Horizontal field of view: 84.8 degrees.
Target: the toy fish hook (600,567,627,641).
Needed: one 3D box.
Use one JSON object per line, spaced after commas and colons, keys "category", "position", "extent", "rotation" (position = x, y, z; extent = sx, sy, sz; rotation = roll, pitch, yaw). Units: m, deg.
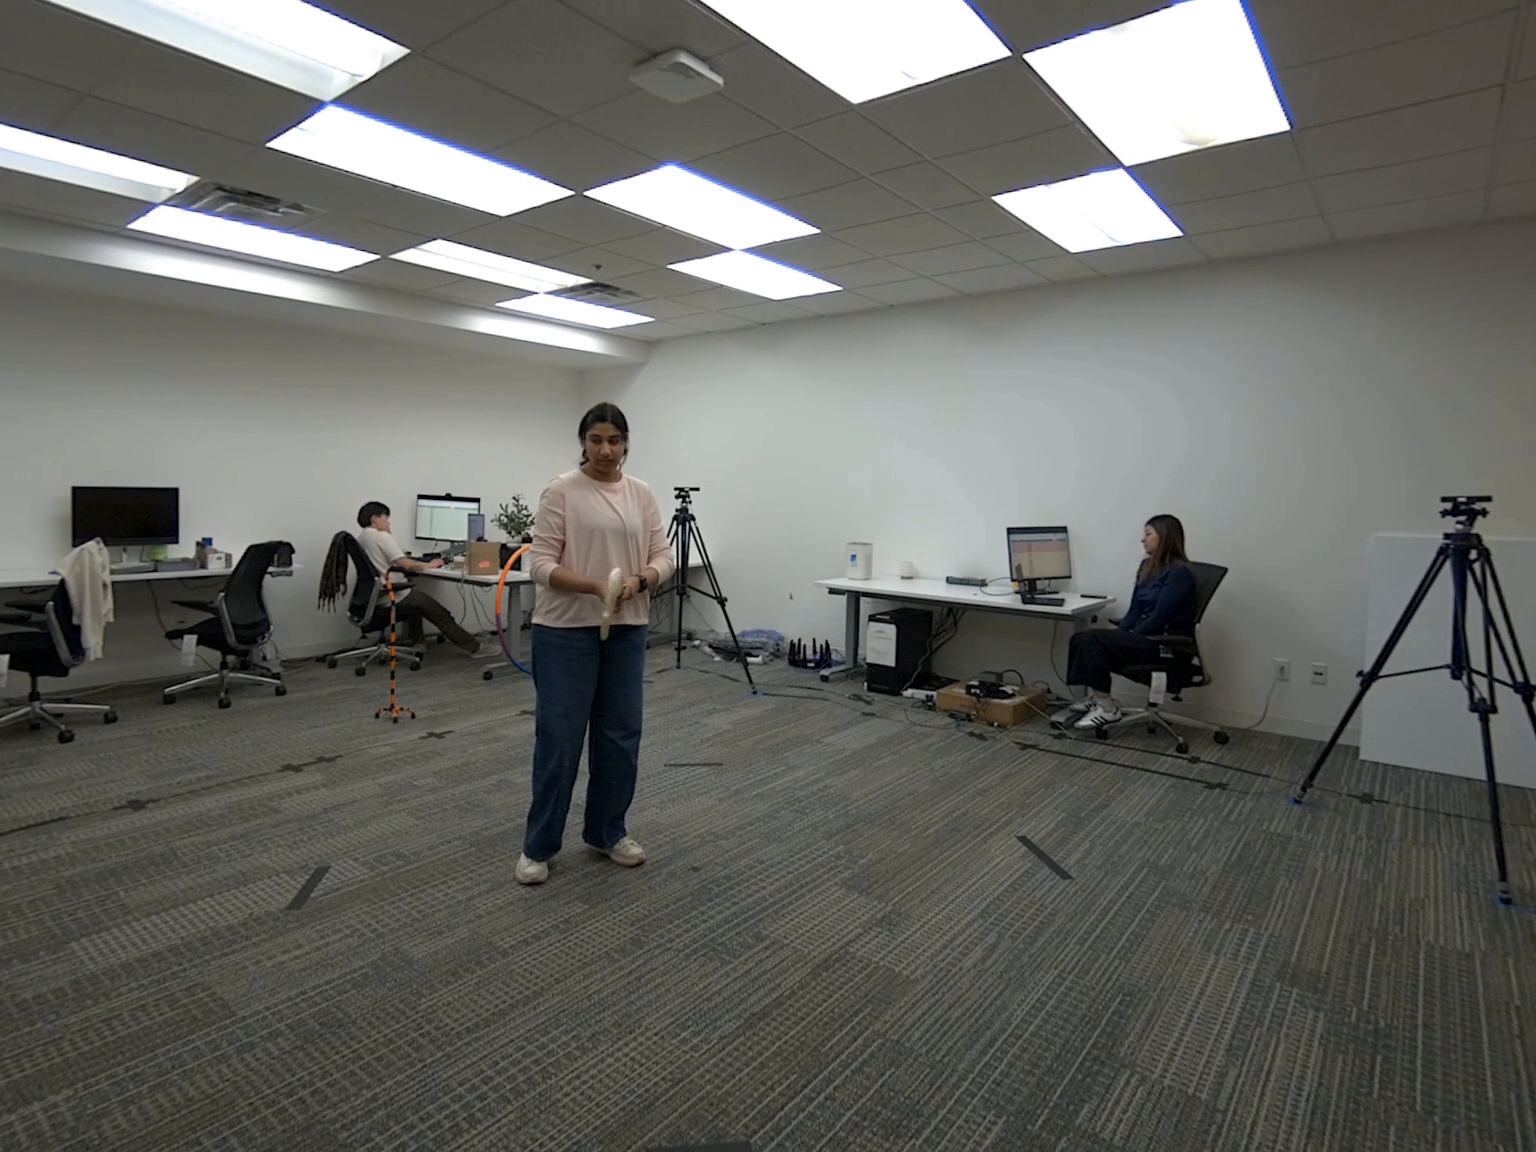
{"category": "toy fish hook", "position": [-0.532, 0.082, 2.736], "extent": [0.048, 0.226, 0.506], "rotation": [13, -6, -6]}
